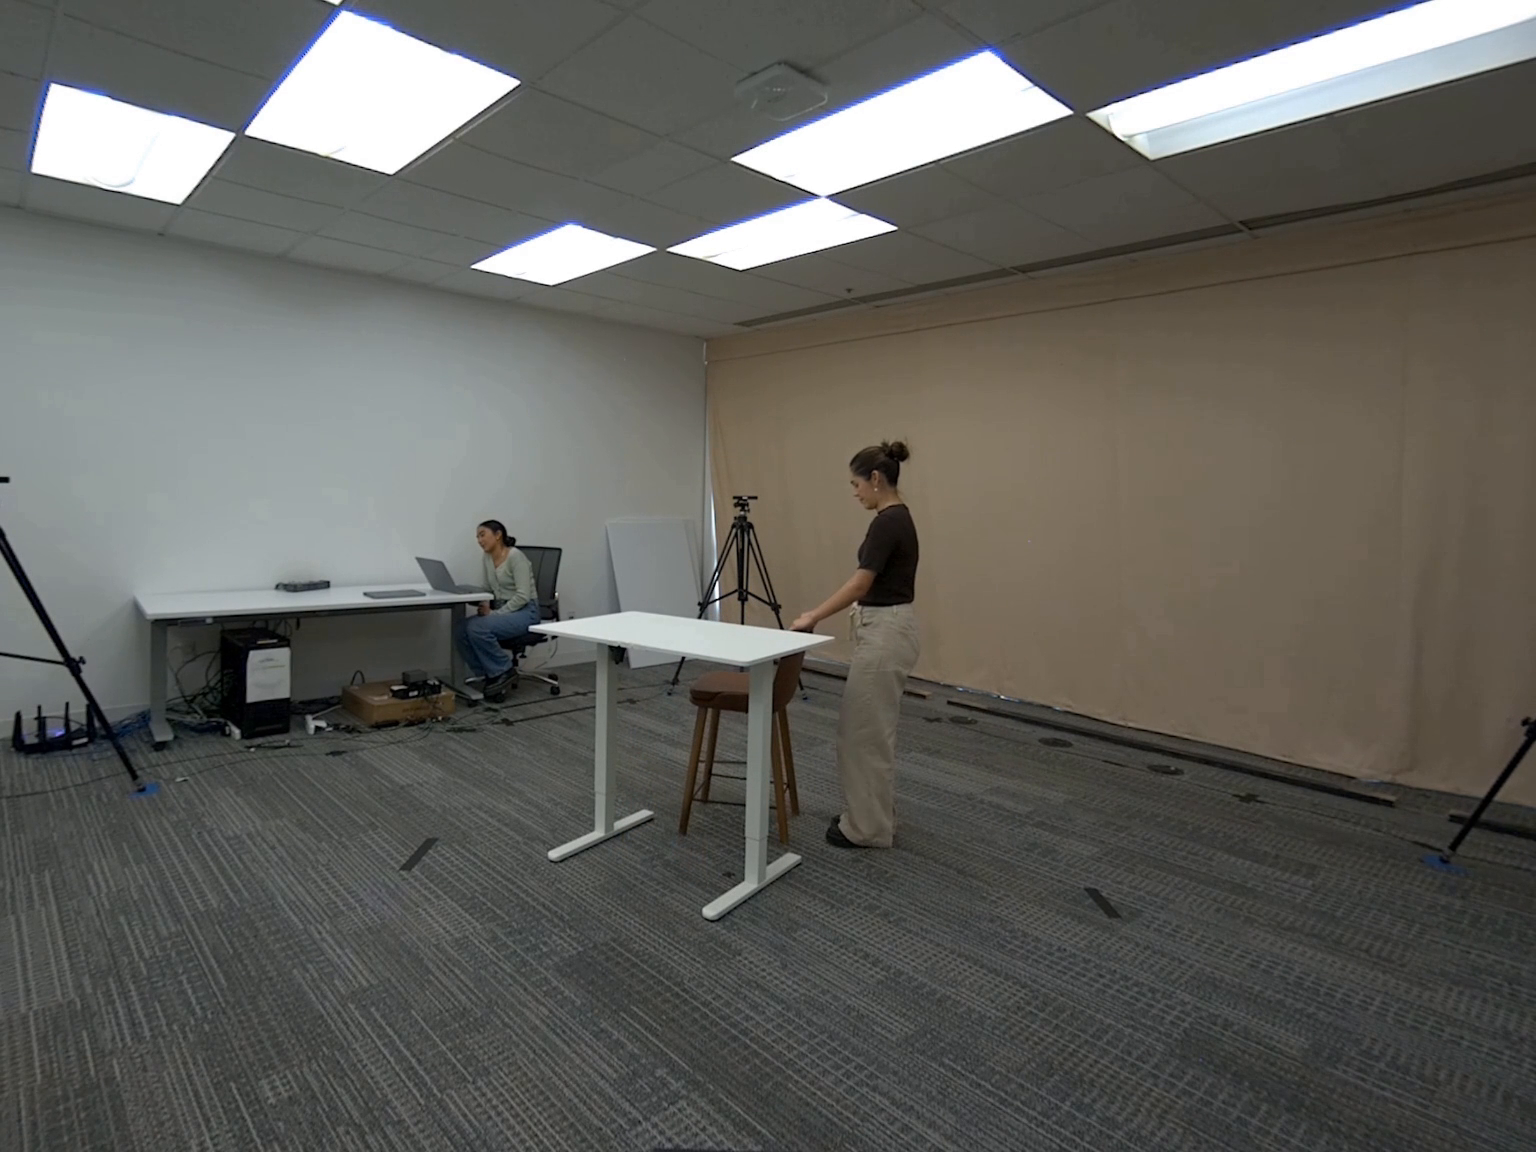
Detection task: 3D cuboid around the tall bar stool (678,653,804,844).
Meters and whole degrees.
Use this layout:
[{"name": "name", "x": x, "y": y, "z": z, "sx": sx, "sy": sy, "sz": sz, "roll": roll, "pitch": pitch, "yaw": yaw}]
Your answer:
[{"name": "tall bar stool", "x": -0.094, "y": 0.619, "z": 3.585, "sx": 0.472, "sy": 0.887, "sz": 0.453, "roll": 4, "pitch": 4, "yaw": 11}]
